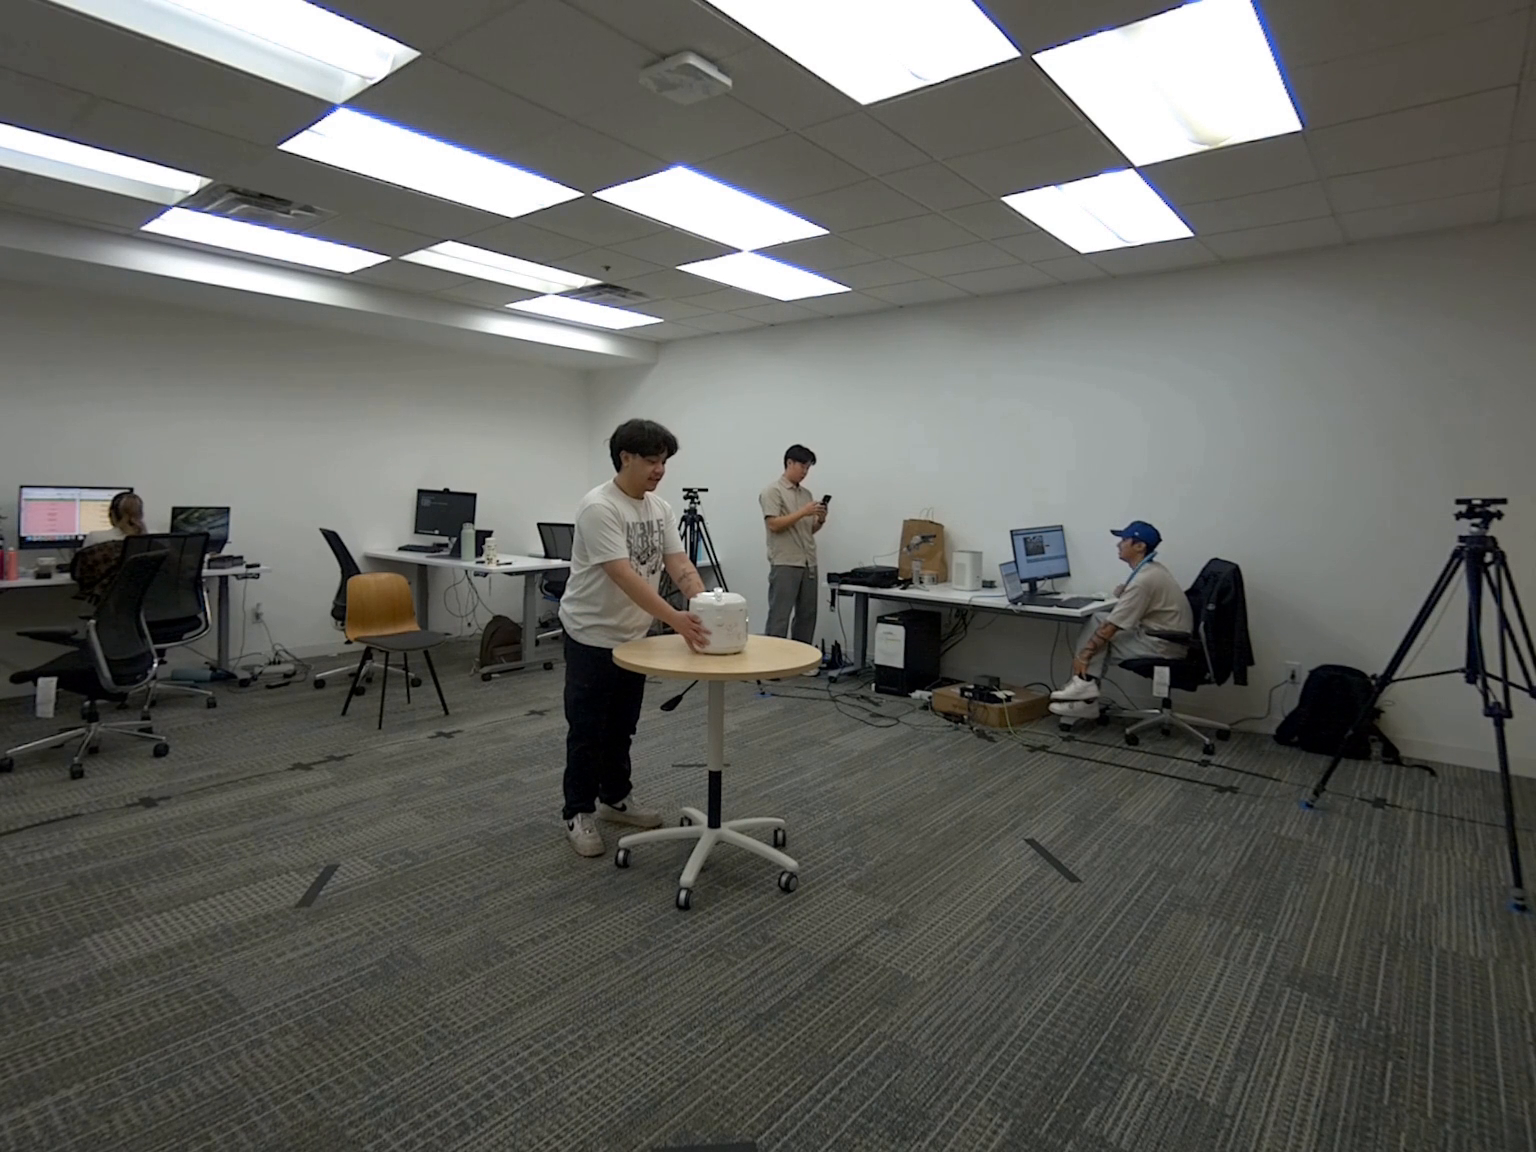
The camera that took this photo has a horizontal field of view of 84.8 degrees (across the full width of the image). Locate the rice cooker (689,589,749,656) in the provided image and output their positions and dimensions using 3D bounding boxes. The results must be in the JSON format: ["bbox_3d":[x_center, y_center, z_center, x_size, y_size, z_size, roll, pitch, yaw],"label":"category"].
[{"bbox_3d":[-0.188,0.155,3.110,0.217,0.232,0.222,0,5,-4],"label":"rice cooker"}]
